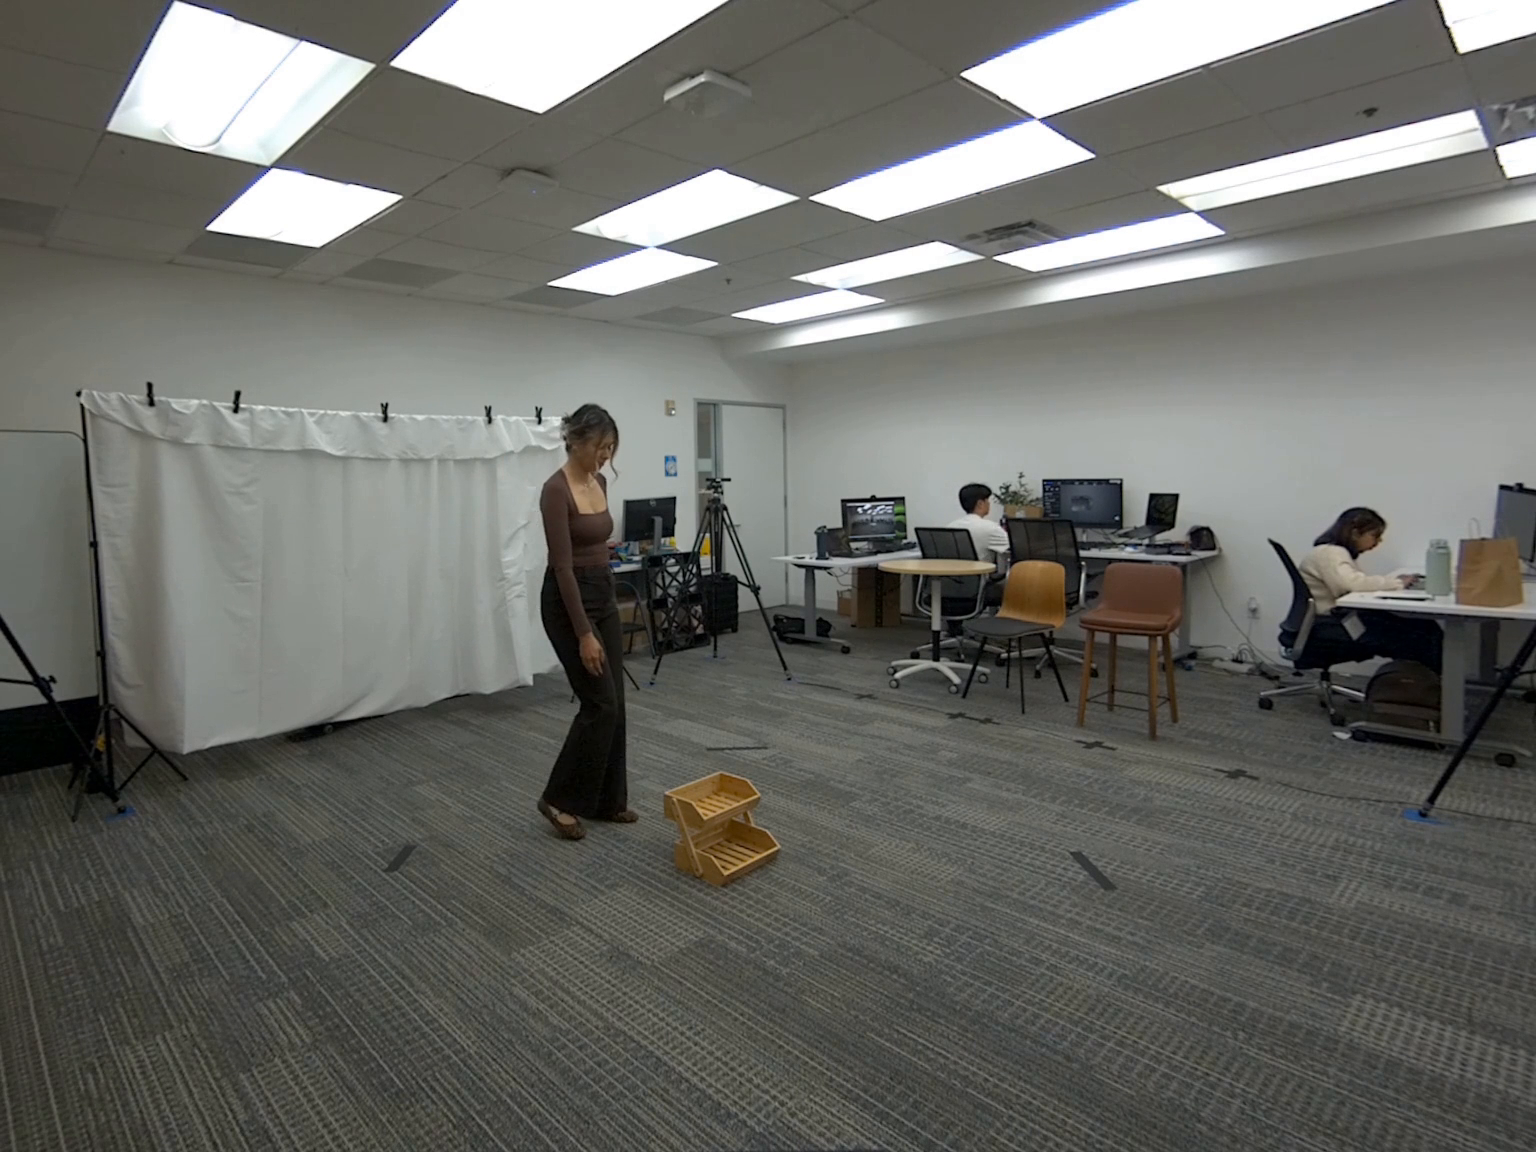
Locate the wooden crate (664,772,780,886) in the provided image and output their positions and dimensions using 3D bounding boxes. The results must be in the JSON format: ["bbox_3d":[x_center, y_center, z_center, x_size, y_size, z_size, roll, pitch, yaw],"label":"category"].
[{"bbox_3d":[-0.163,0.908,3.115,0.311,0.272,0.316,4,7,41],"label":"wooden crate"}]
